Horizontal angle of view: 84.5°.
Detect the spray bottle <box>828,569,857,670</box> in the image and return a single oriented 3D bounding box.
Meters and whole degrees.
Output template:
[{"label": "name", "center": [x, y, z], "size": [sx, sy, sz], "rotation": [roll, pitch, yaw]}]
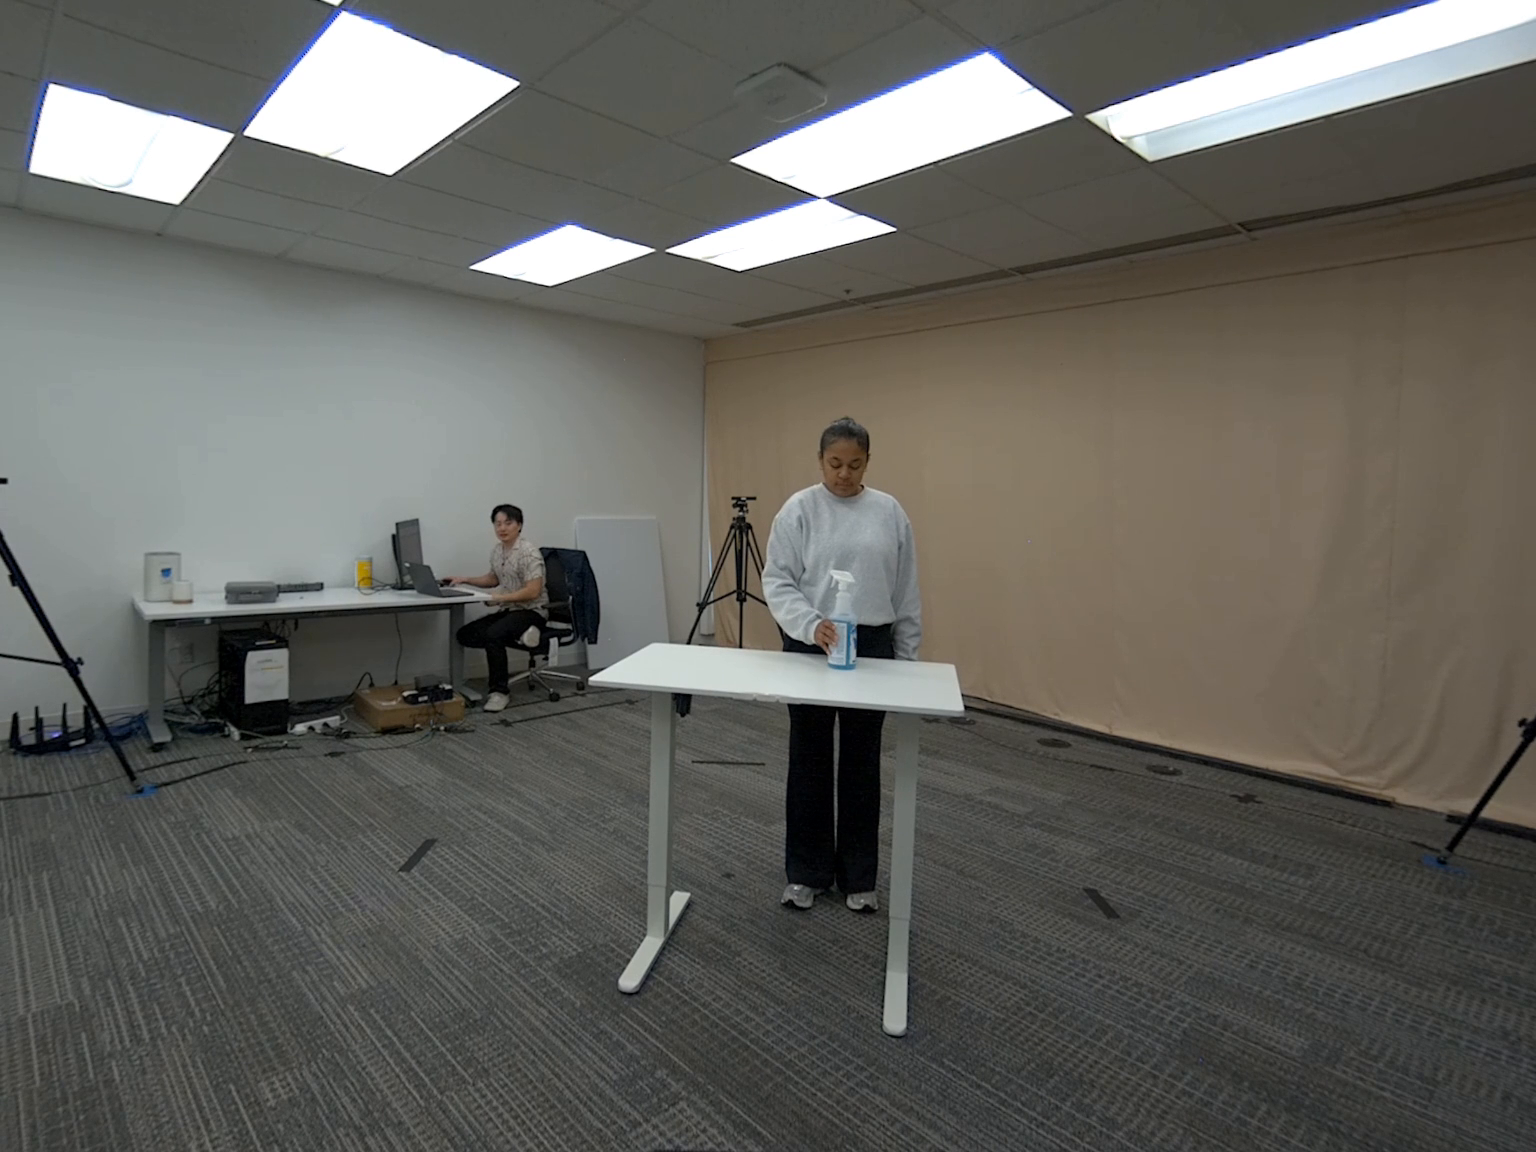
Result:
[{"label": "spray bottle", "center": [0.220, 0.135, 2.575], "size": [0.086, 0.297, 0.091], "rotation": [1, 2, -18]}]
